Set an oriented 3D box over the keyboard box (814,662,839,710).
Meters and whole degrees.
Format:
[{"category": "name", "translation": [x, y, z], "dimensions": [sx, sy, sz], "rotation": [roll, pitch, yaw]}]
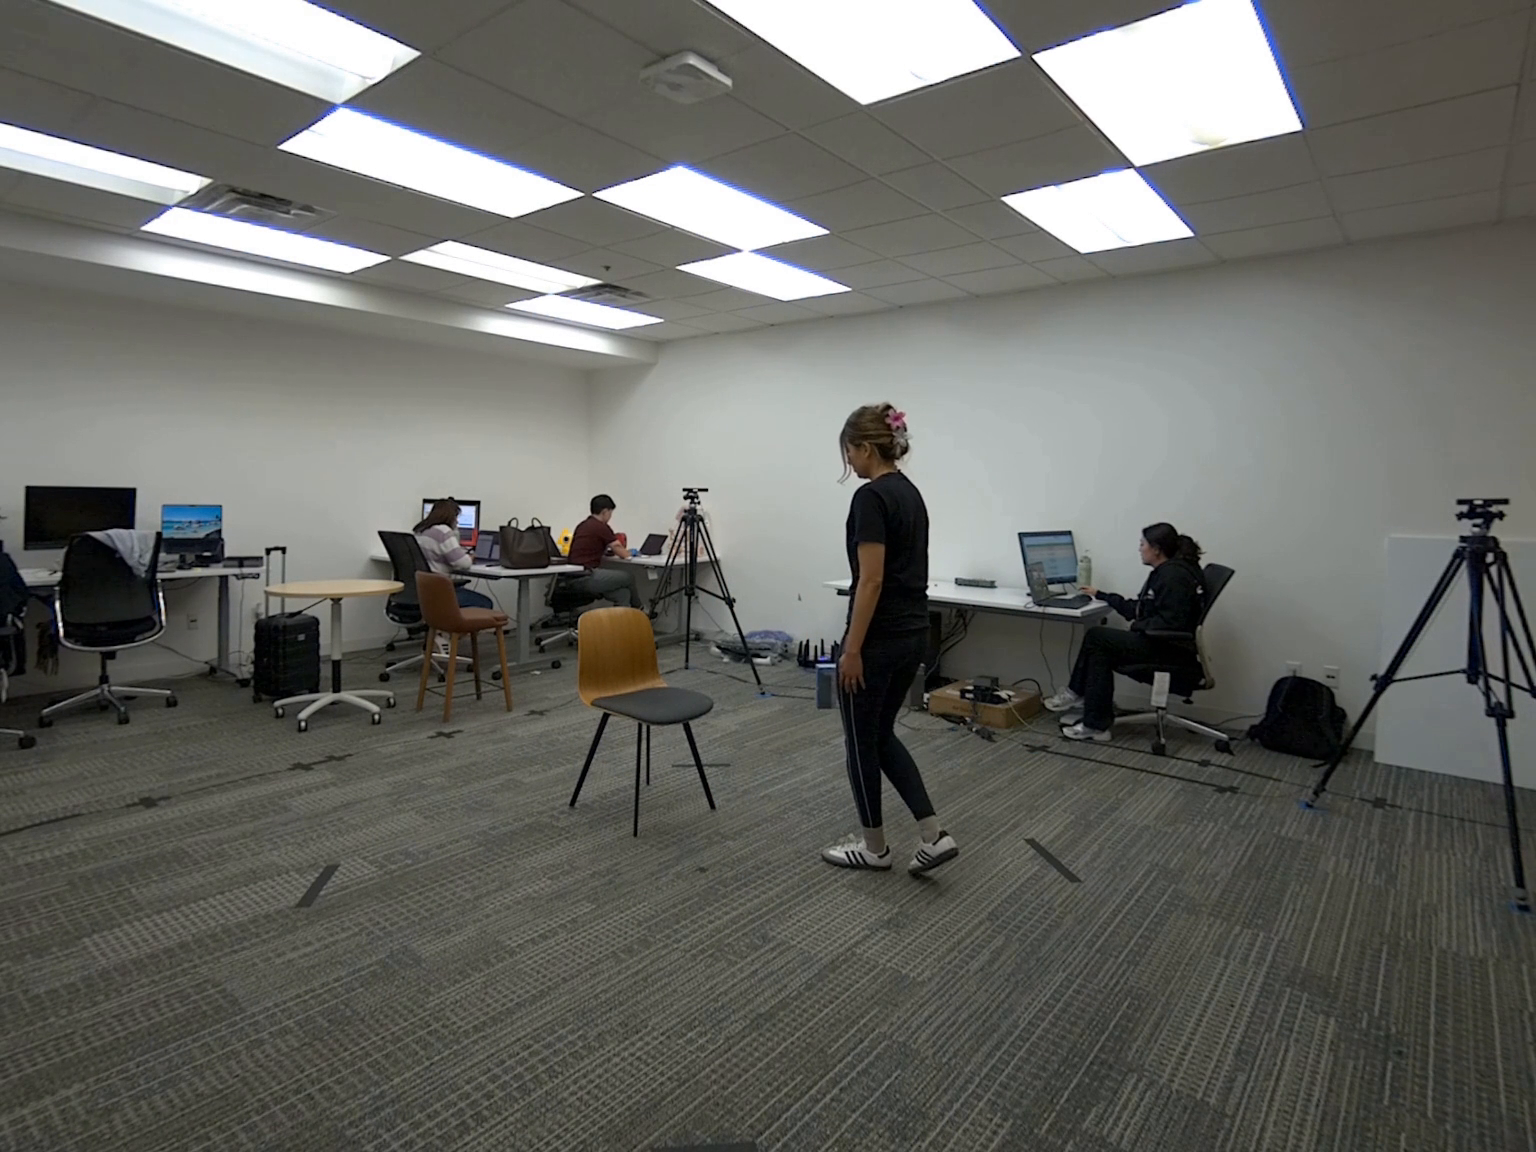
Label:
[{"category": "keyboard box", "translation": [0.409, 0.433, 3.433], "dimensions": [0.435, 0.175, 0.060], "rotation": [-2, 6, -4]}]
